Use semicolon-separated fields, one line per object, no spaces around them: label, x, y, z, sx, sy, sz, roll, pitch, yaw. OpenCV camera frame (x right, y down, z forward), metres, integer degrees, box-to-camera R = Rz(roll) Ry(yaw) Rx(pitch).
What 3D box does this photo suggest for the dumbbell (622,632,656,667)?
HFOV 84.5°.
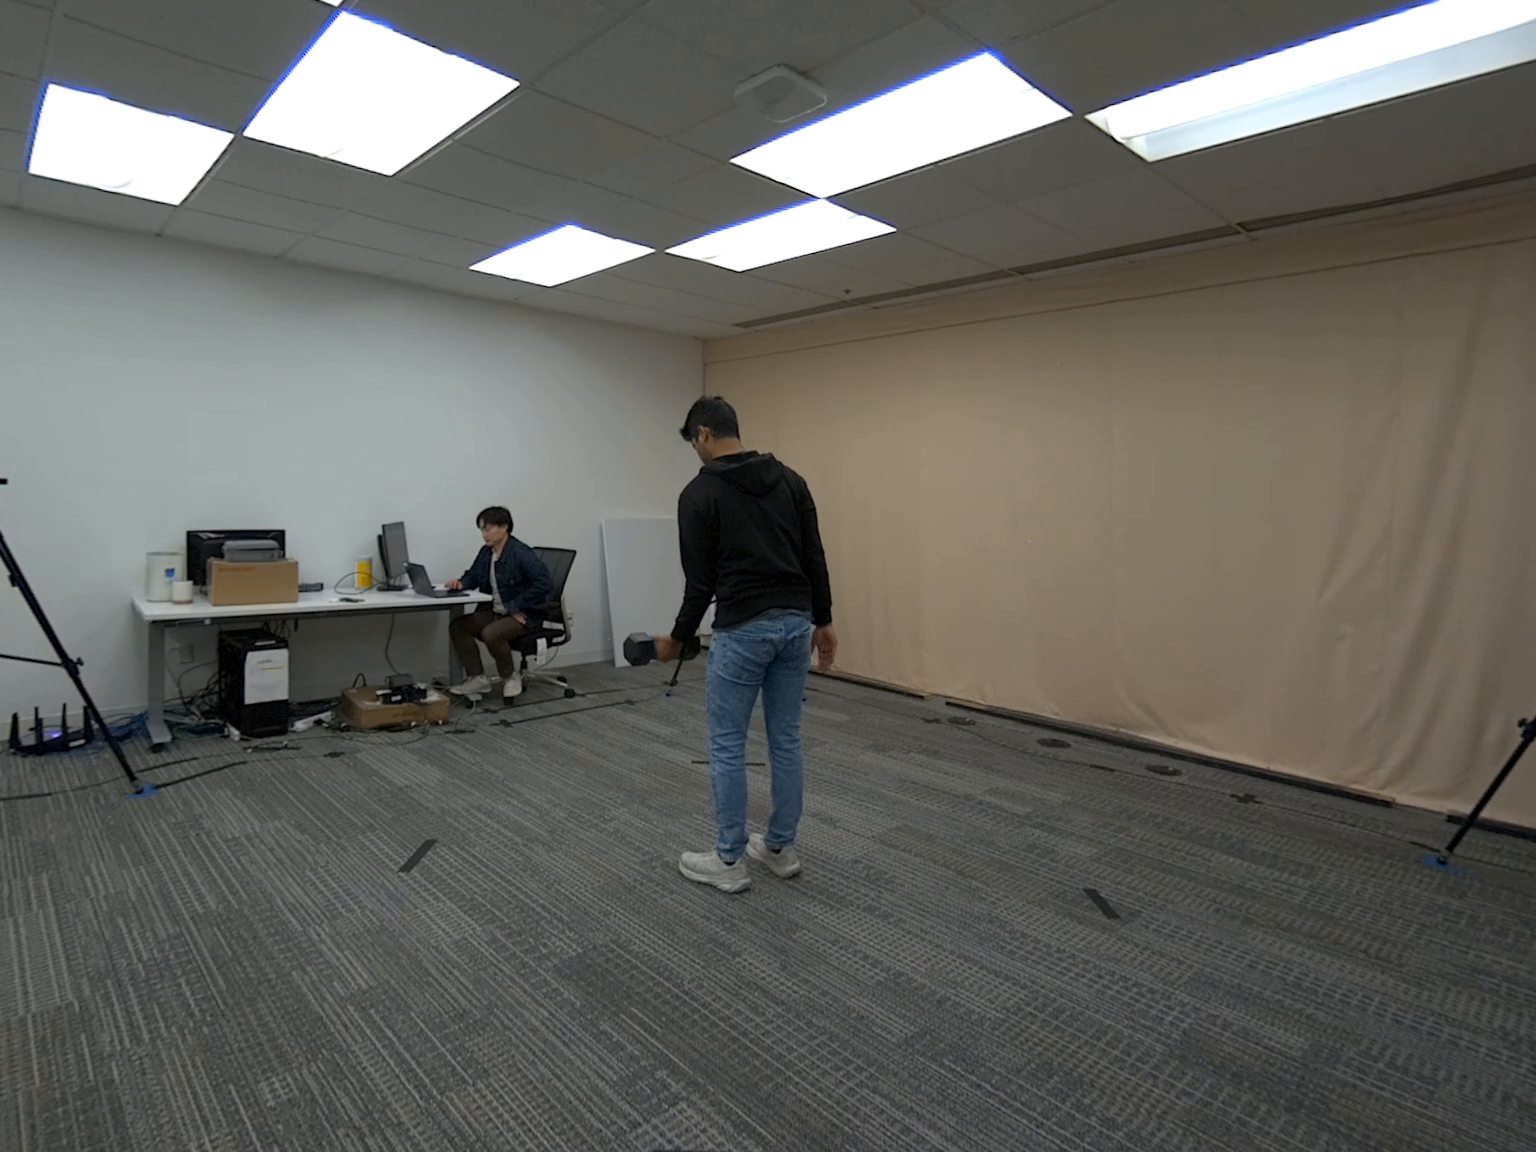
dumbbell;-0.396;0.249;3.153;0.287;0.111;0.122;-2;-36;-37
